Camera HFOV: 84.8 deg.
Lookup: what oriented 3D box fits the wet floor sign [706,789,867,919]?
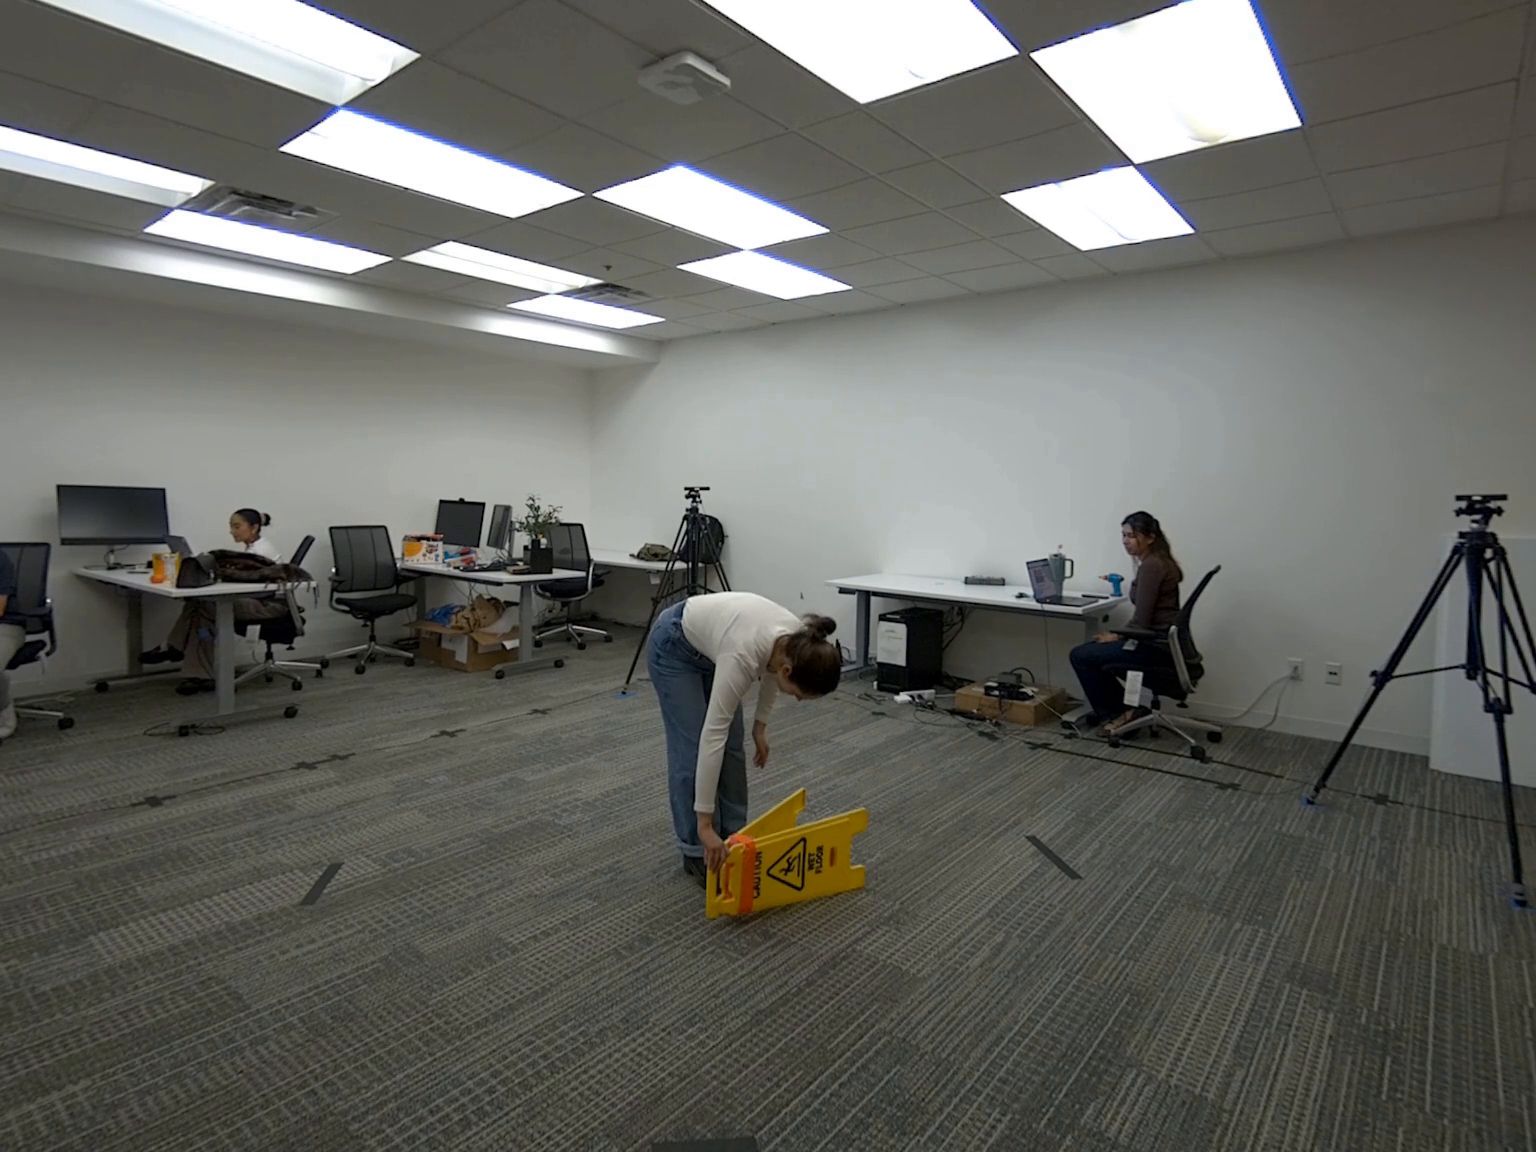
[{"bbox_3d":[0.018,0.947,2.862,0.300,0.281,0.626,5,5,44],"label":"wet floor sign"}]
